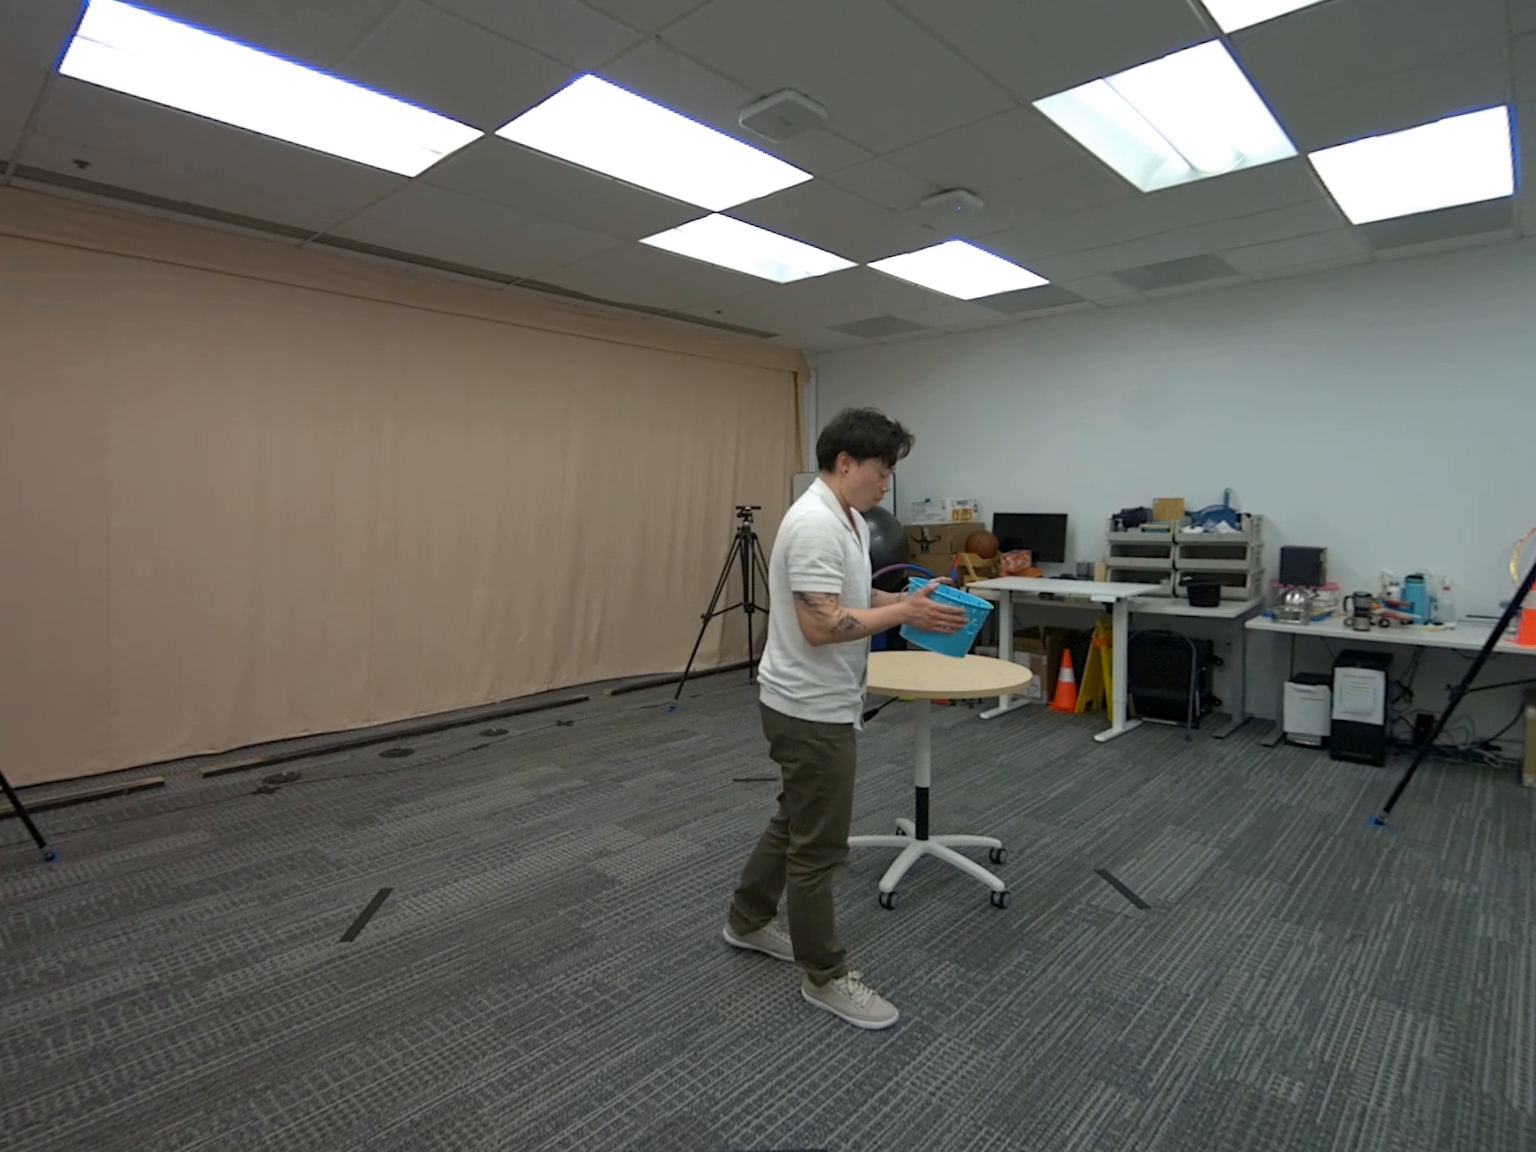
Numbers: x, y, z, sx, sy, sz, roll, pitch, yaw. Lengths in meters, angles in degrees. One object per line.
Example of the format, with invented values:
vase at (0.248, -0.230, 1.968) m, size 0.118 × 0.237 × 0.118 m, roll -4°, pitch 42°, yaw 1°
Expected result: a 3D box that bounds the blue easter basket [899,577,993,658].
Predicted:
blue easter basket at (0.475, 0.119, 2.271) m, size 0.243 × 0.155 × 0.245 m, roll 18°, pitch 6°, yaw -4°
